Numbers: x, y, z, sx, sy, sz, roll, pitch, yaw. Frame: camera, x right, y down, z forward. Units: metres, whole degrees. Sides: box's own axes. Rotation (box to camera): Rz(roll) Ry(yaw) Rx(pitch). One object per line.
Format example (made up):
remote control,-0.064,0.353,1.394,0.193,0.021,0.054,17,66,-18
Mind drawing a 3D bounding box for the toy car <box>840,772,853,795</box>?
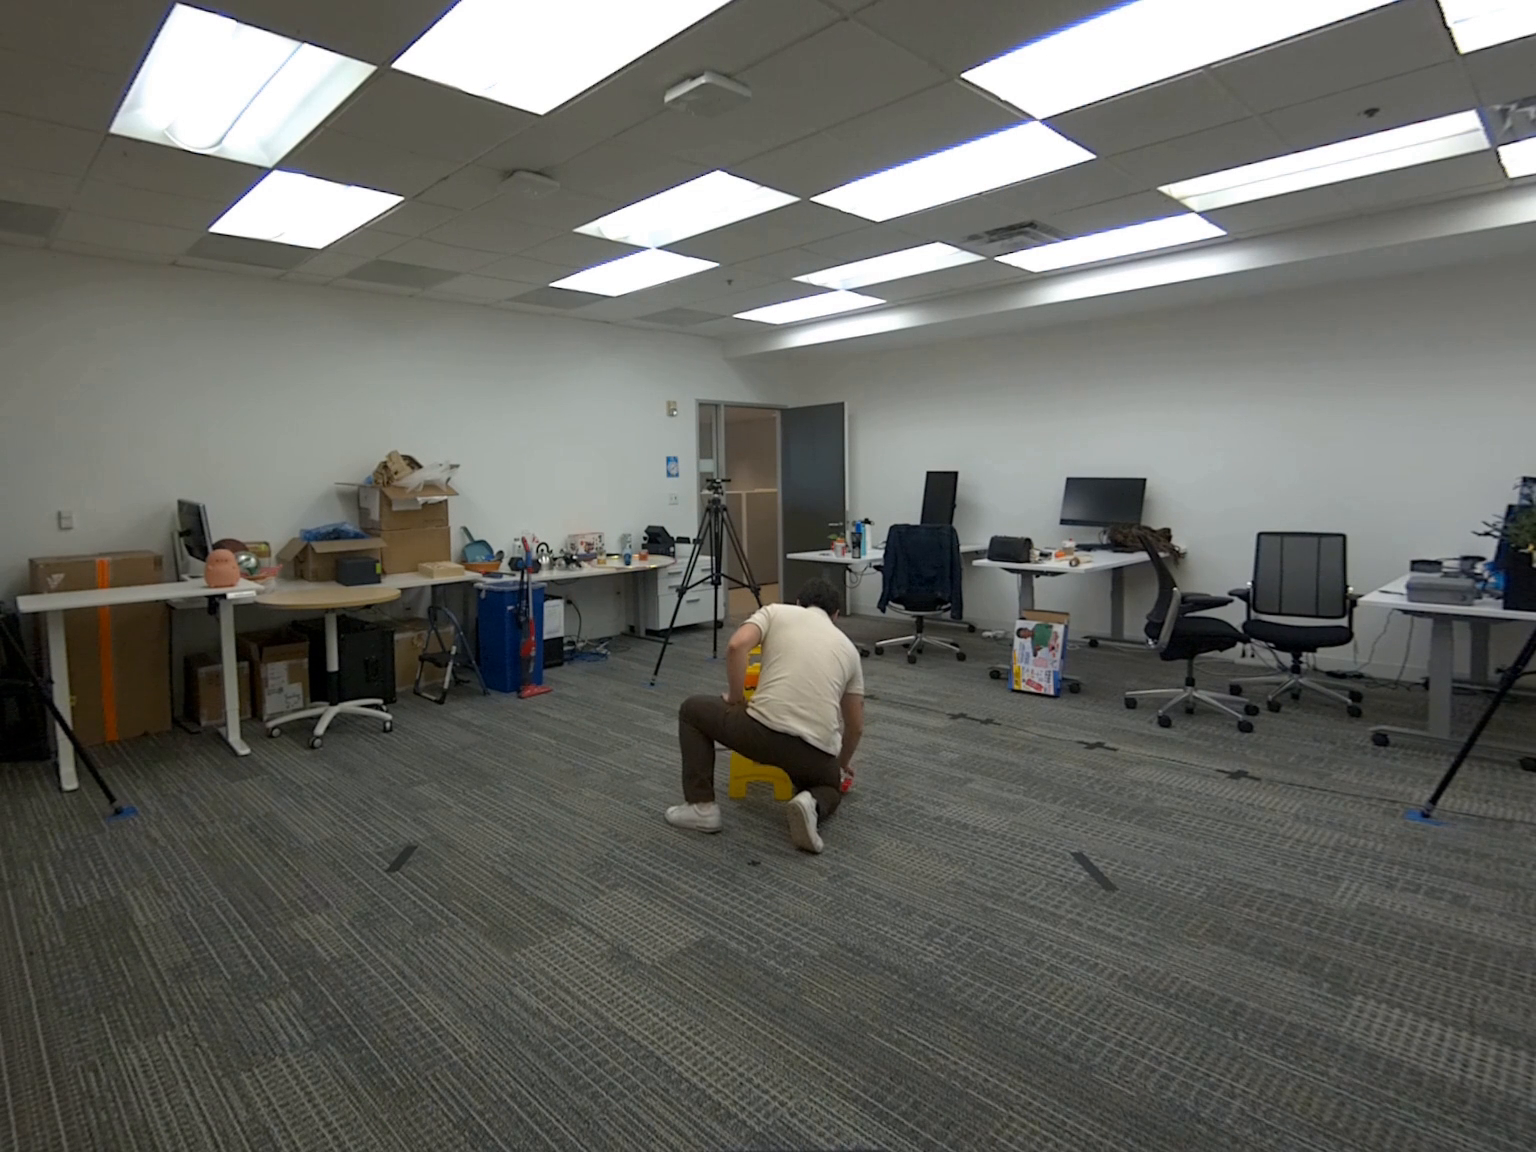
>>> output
toy car,0.251,0.923,3.798,0.257,0.083,0.129,-11,4,12
